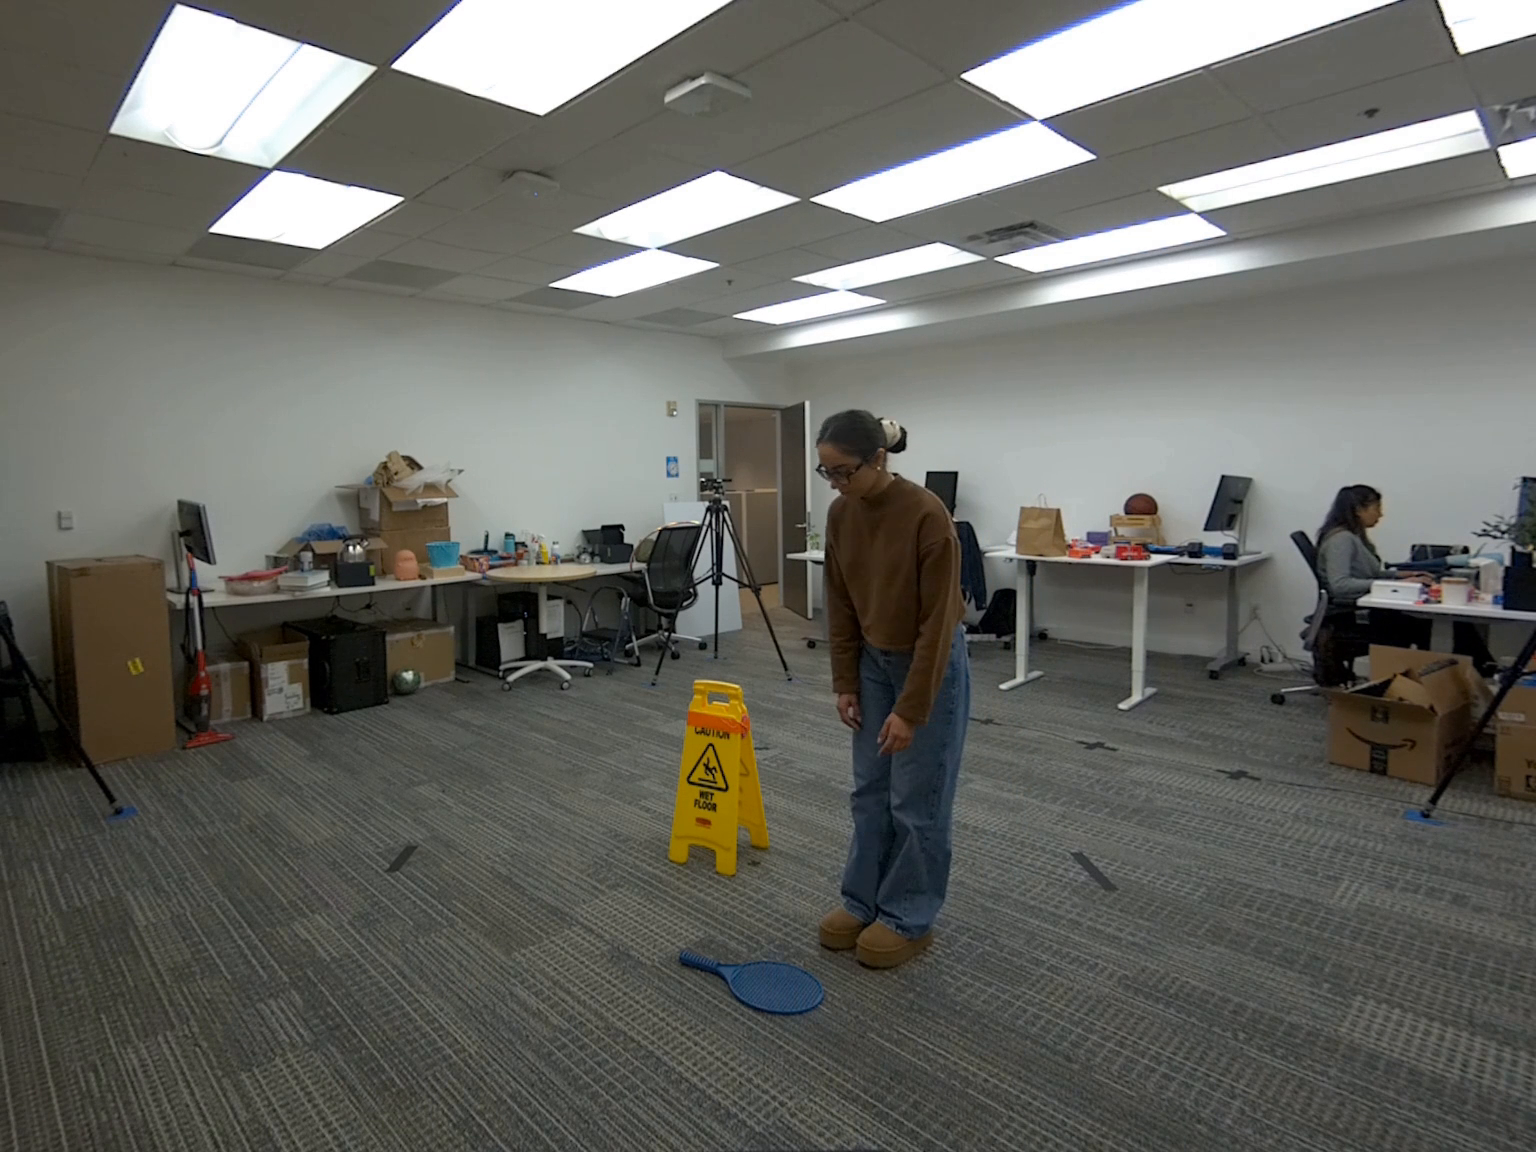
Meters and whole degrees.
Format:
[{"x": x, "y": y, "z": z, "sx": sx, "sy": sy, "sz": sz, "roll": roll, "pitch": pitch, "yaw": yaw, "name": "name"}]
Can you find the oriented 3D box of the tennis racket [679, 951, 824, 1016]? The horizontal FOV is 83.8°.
[{"x": -0.045, "y": 1.117, "z": 2.385, "sx": 0.444, "sy": 0.031, "sz": 0.209, "roll": 3, "pitch": 7, "yaw": 30, "name": "tennis racket"}]
